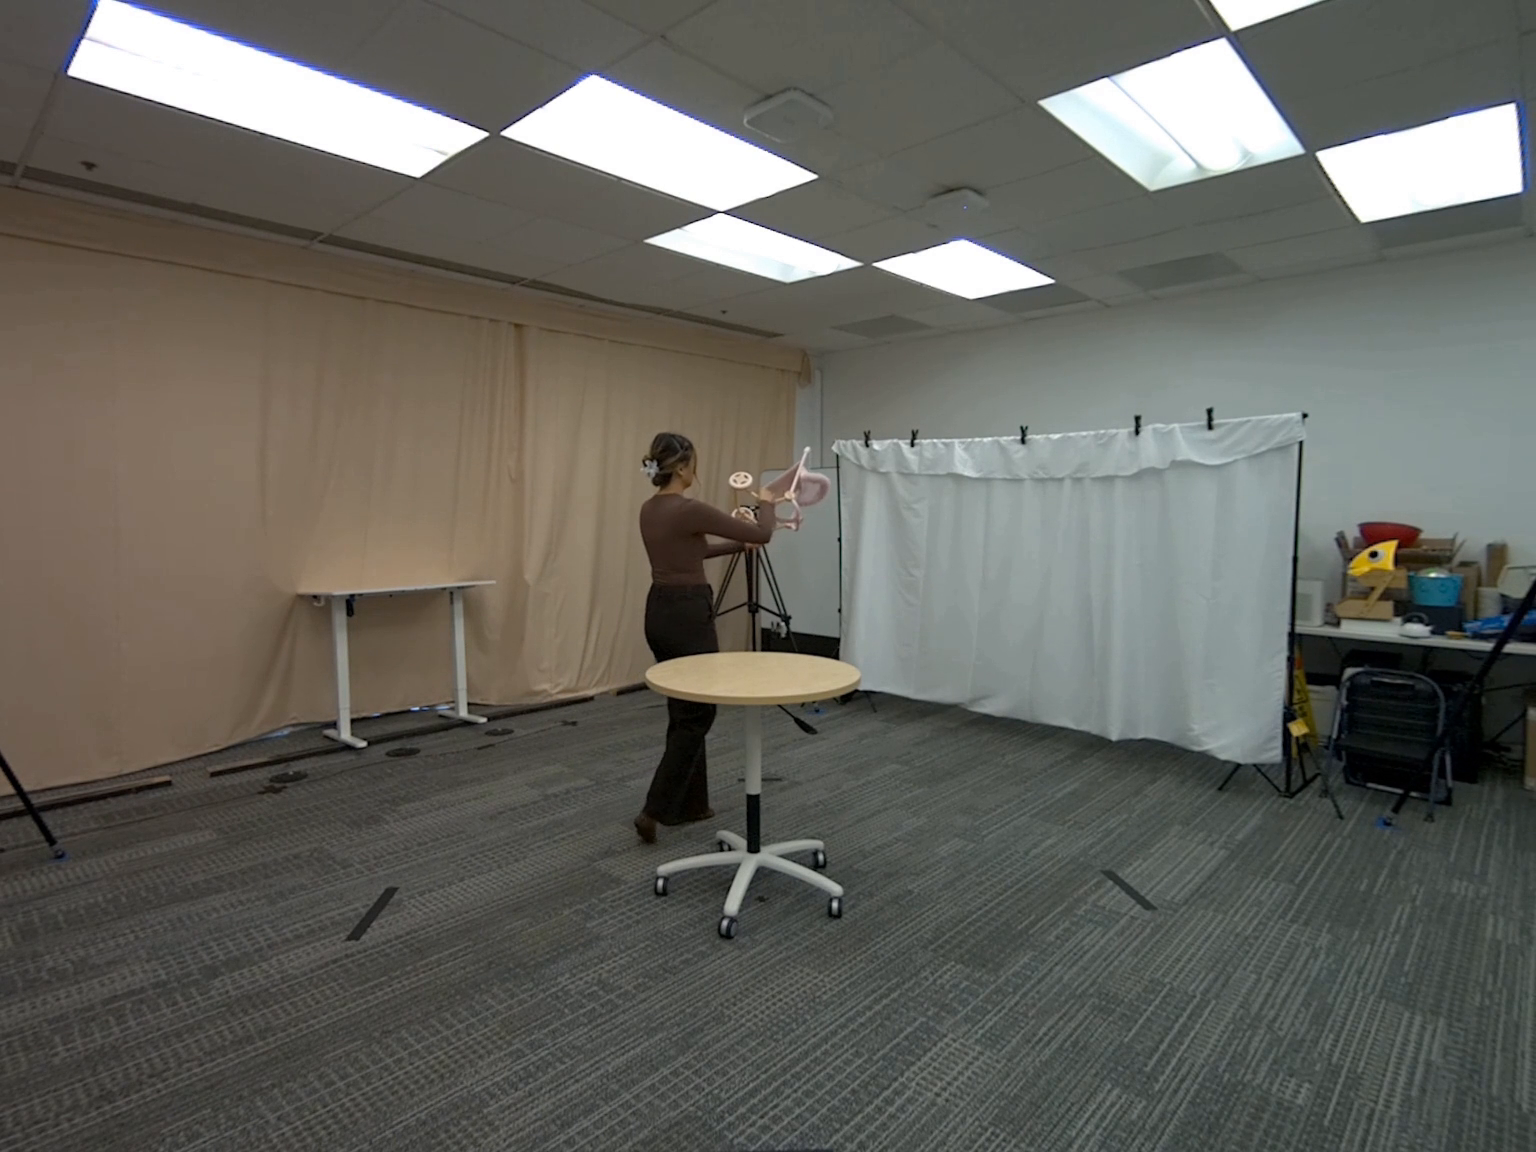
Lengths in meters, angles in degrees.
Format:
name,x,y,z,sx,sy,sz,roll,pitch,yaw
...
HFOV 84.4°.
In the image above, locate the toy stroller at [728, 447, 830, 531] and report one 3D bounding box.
name,x,y,z,sx,sy,sz,roll,pitch,yaw
toy stroller,0.069,-0.351,3.928,0.529,0.275,0.353,-27,49,-18
